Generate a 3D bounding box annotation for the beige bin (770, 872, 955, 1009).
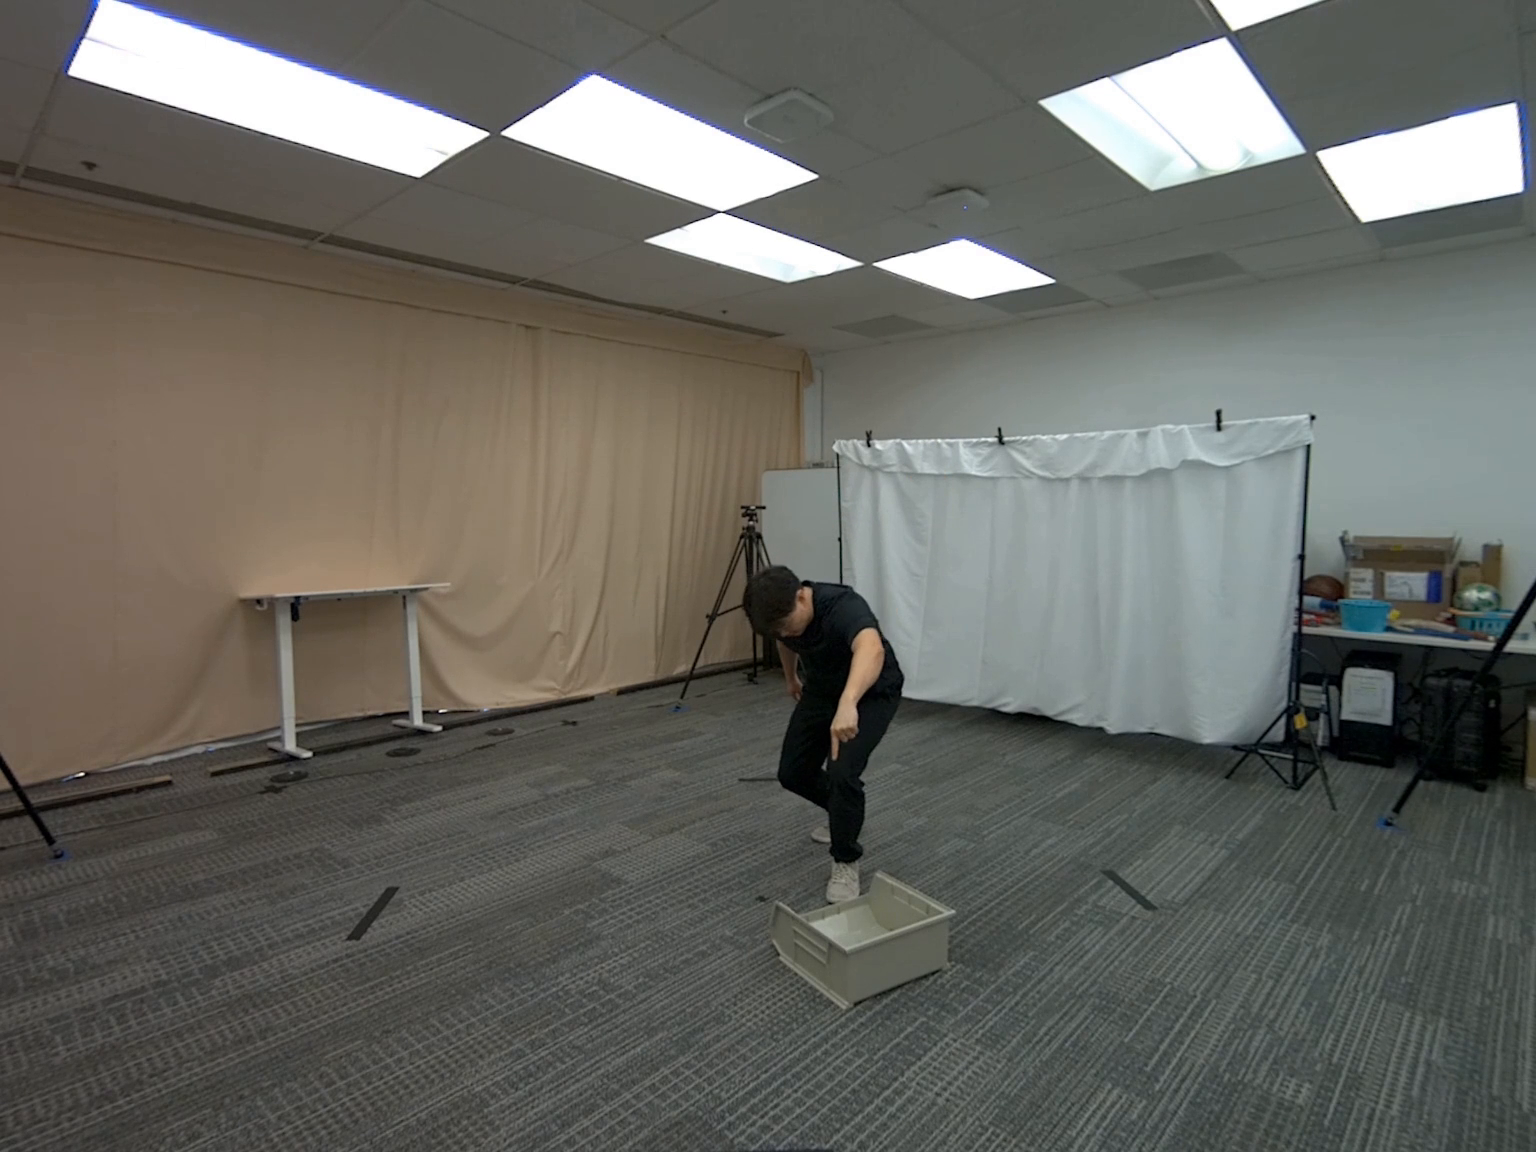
[{"bbox_3d":[0.282,1.088,2.572,0.410,0.188,0.389,-2,5,-32],"label":"beige bin"}]
